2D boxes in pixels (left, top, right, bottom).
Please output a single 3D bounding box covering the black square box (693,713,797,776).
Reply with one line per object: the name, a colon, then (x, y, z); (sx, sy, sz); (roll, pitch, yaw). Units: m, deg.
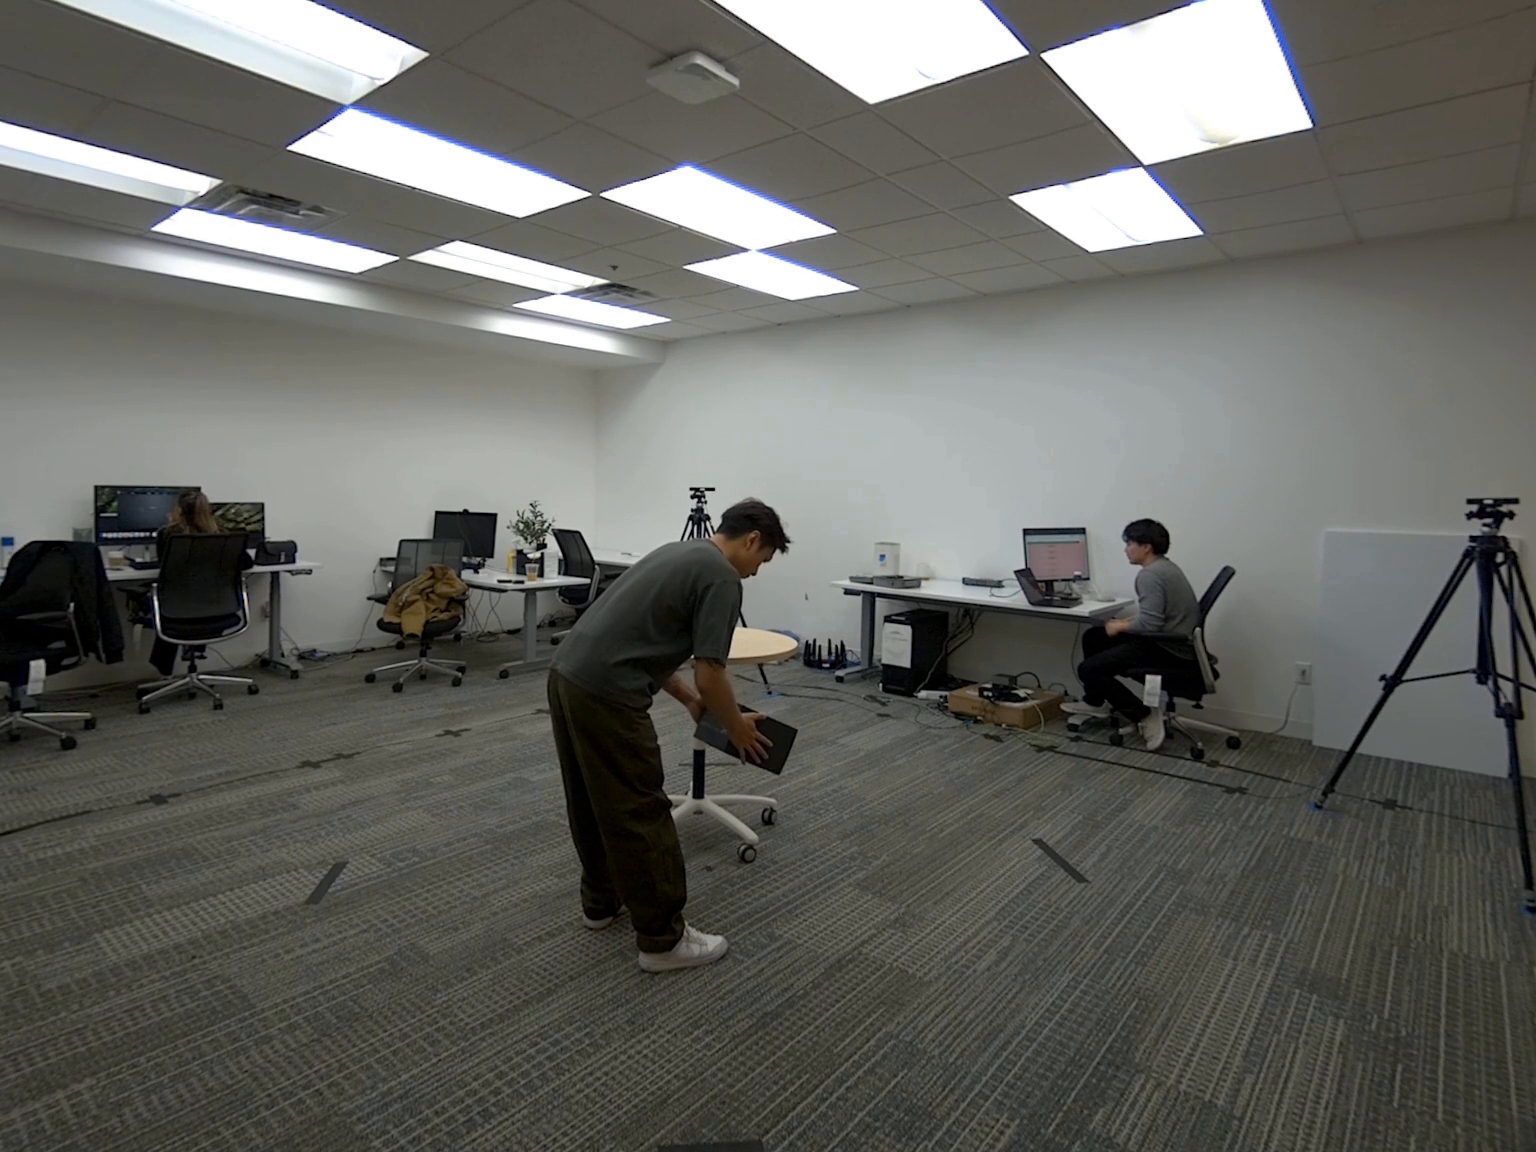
black square box: (-0.074, 0.504, 2.750); (0.220, 0.156, 0.224); (29, -11, -30)
